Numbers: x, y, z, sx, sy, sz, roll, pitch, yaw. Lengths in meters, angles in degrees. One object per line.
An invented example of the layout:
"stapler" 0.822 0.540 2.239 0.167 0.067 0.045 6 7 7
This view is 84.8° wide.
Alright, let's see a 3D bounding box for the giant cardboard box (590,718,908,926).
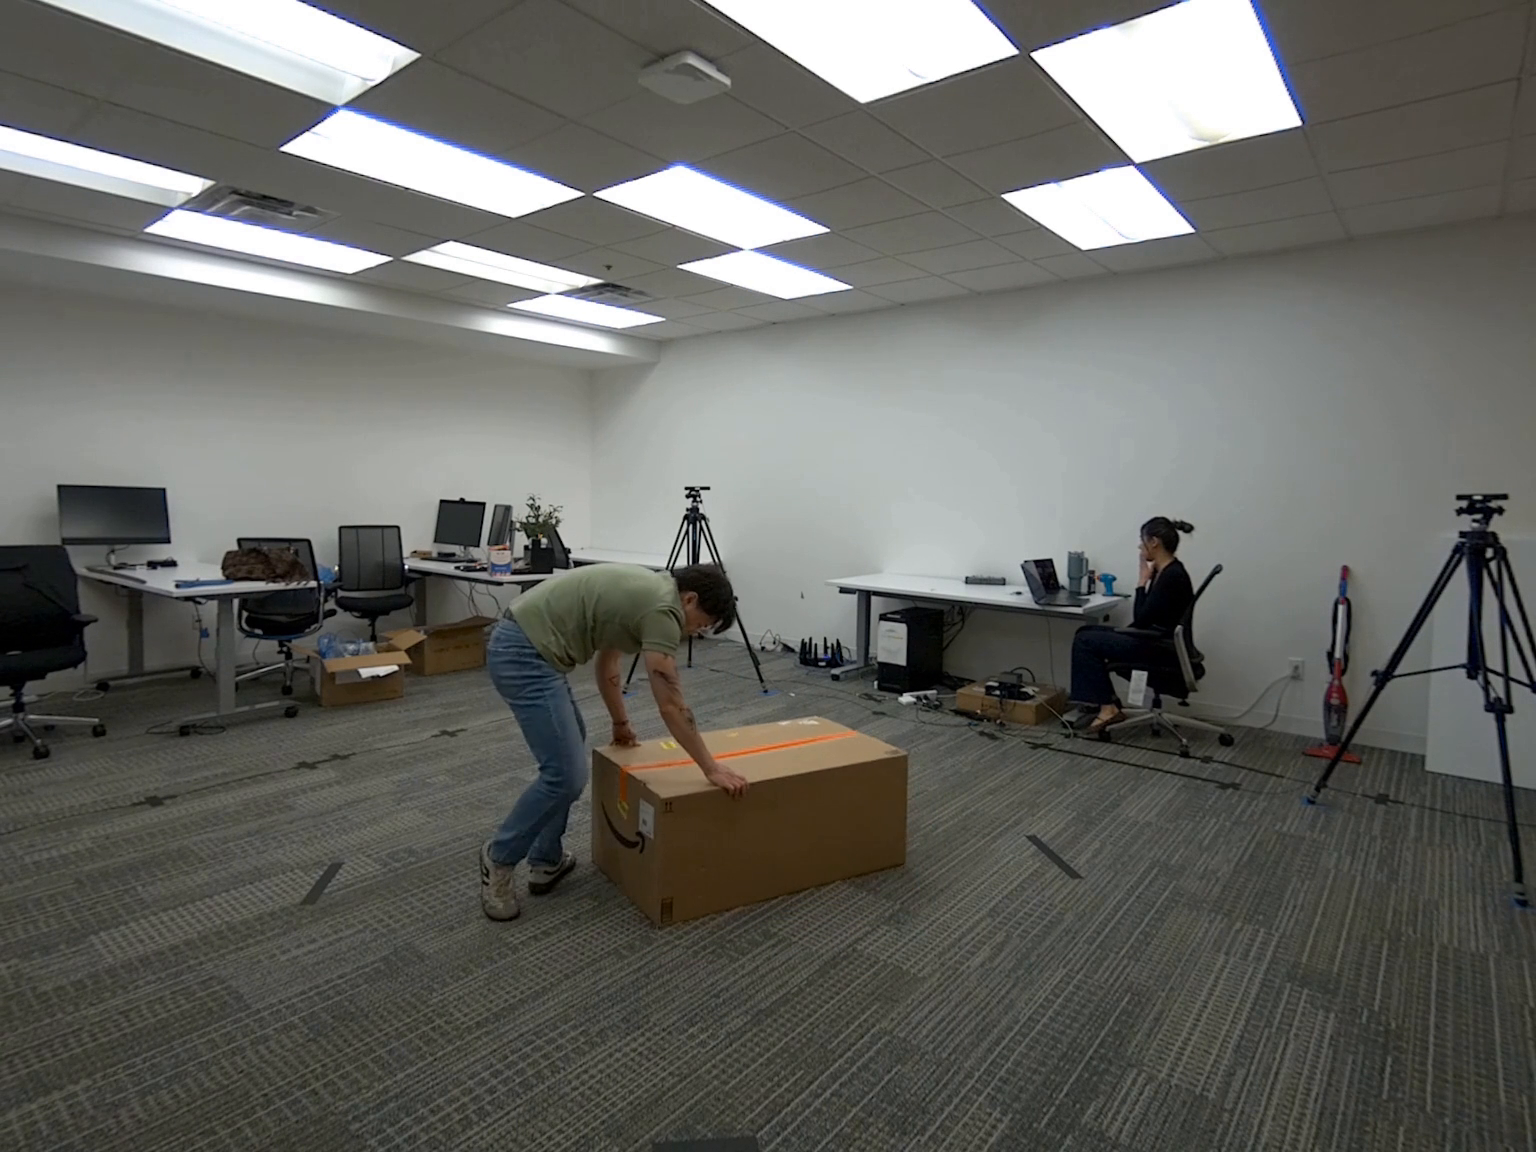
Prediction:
"giant cardboard box" -0.067 0.850 3.146 0.999 0.425 0.595 -3 5 -30
